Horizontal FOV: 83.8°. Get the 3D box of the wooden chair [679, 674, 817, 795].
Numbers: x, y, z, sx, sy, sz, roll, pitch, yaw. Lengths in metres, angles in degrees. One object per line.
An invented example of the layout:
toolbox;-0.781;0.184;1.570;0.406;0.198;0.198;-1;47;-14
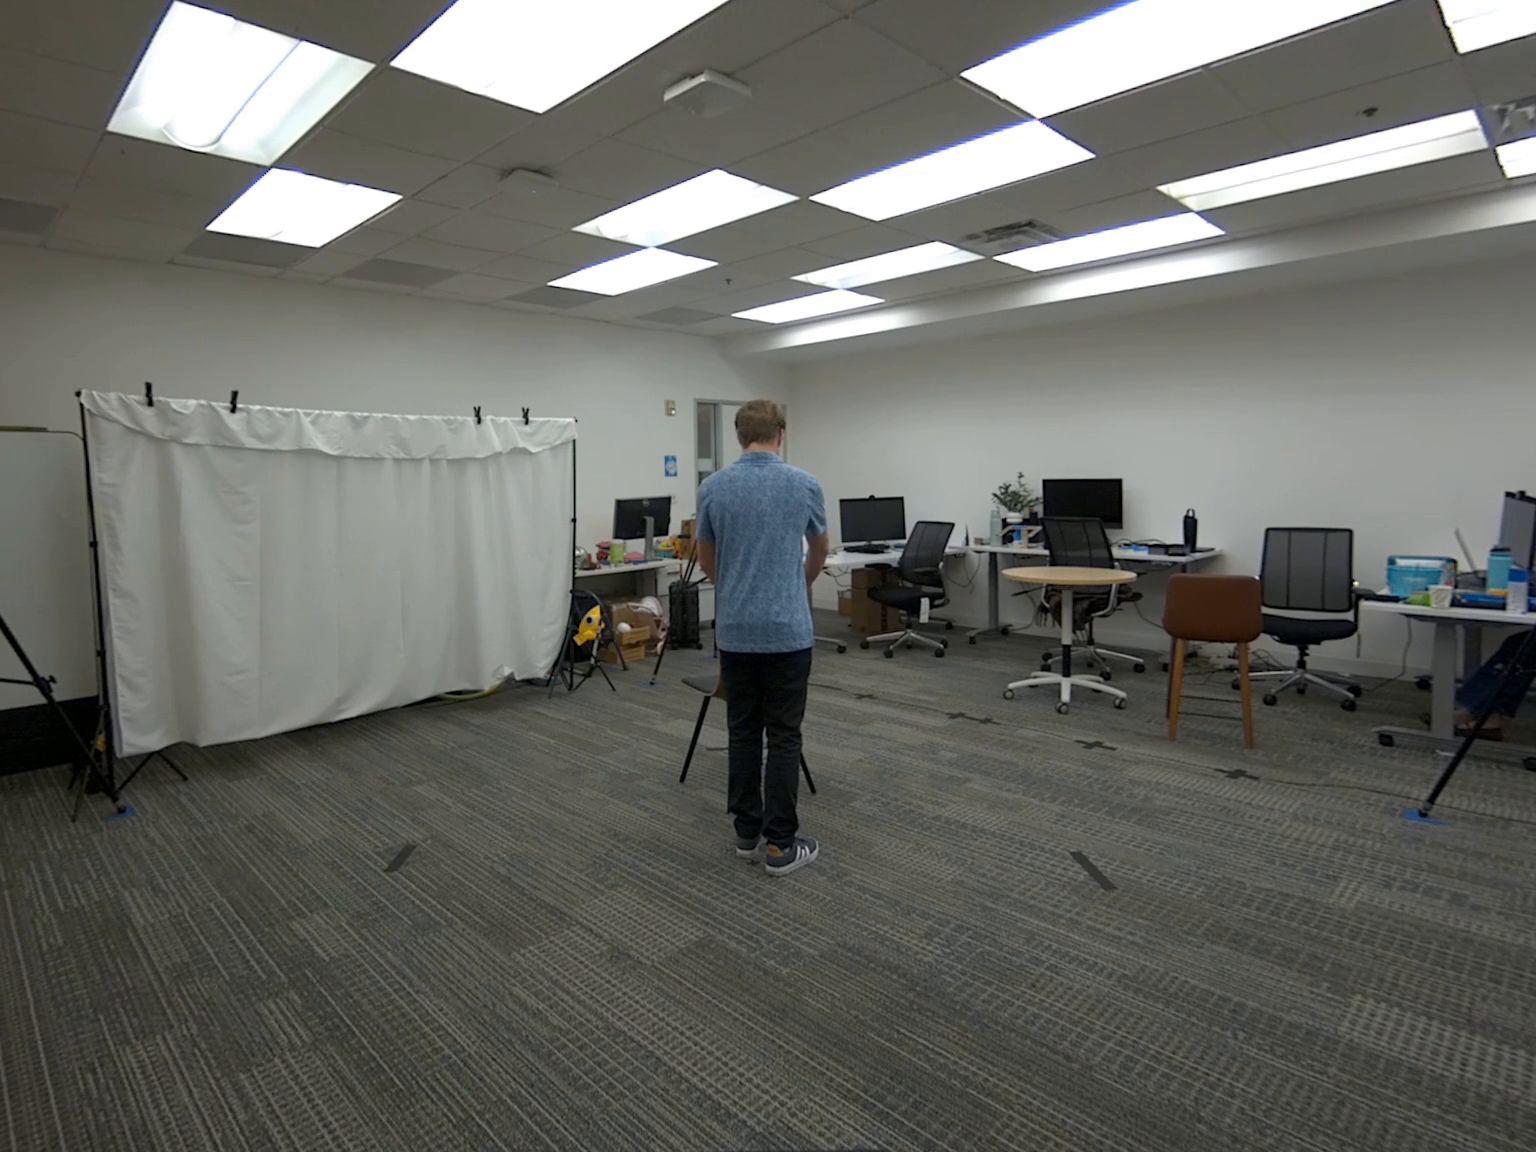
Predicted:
wooden chair;-0.105;0.534;3.843;0.467;0.871;0.539;-3;9;-31
